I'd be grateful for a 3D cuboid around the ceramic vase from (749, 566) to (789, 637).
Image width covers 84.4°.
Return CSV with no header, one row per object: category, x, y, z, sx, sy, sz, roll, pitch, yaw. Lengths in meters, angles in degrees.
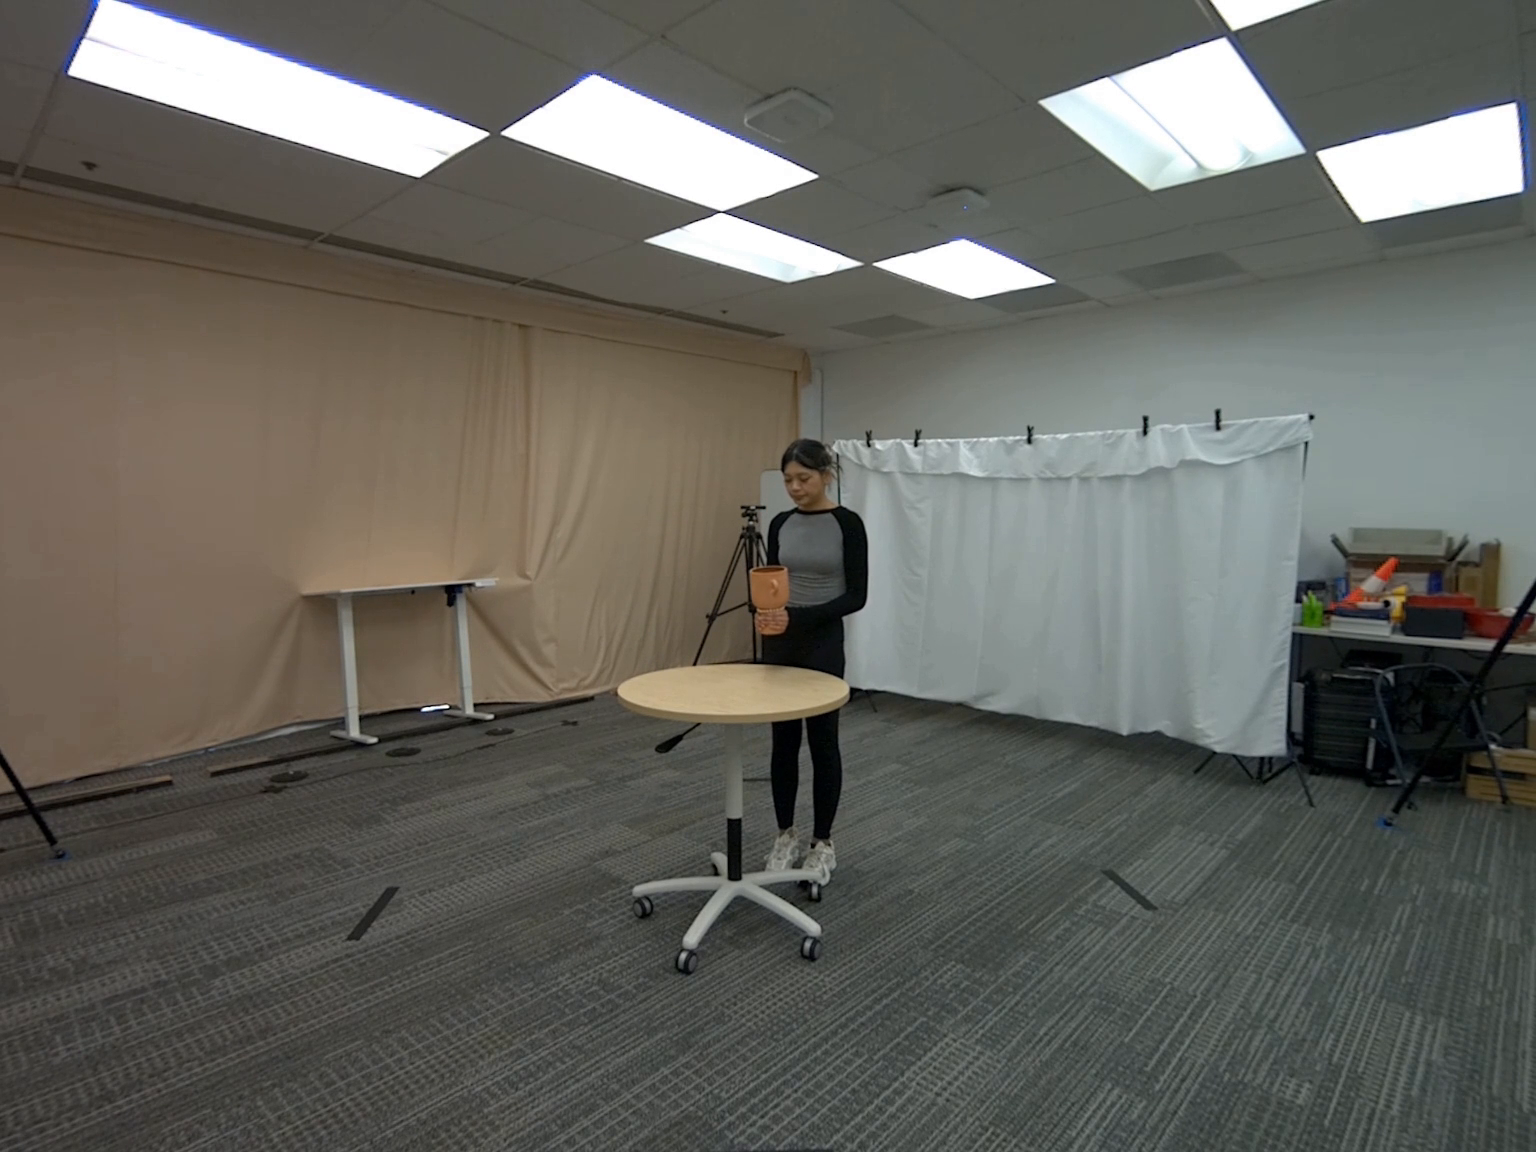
ceramic vase,-0.006,0.086,2.951,0.138,0.218,0.156,1,10,26
